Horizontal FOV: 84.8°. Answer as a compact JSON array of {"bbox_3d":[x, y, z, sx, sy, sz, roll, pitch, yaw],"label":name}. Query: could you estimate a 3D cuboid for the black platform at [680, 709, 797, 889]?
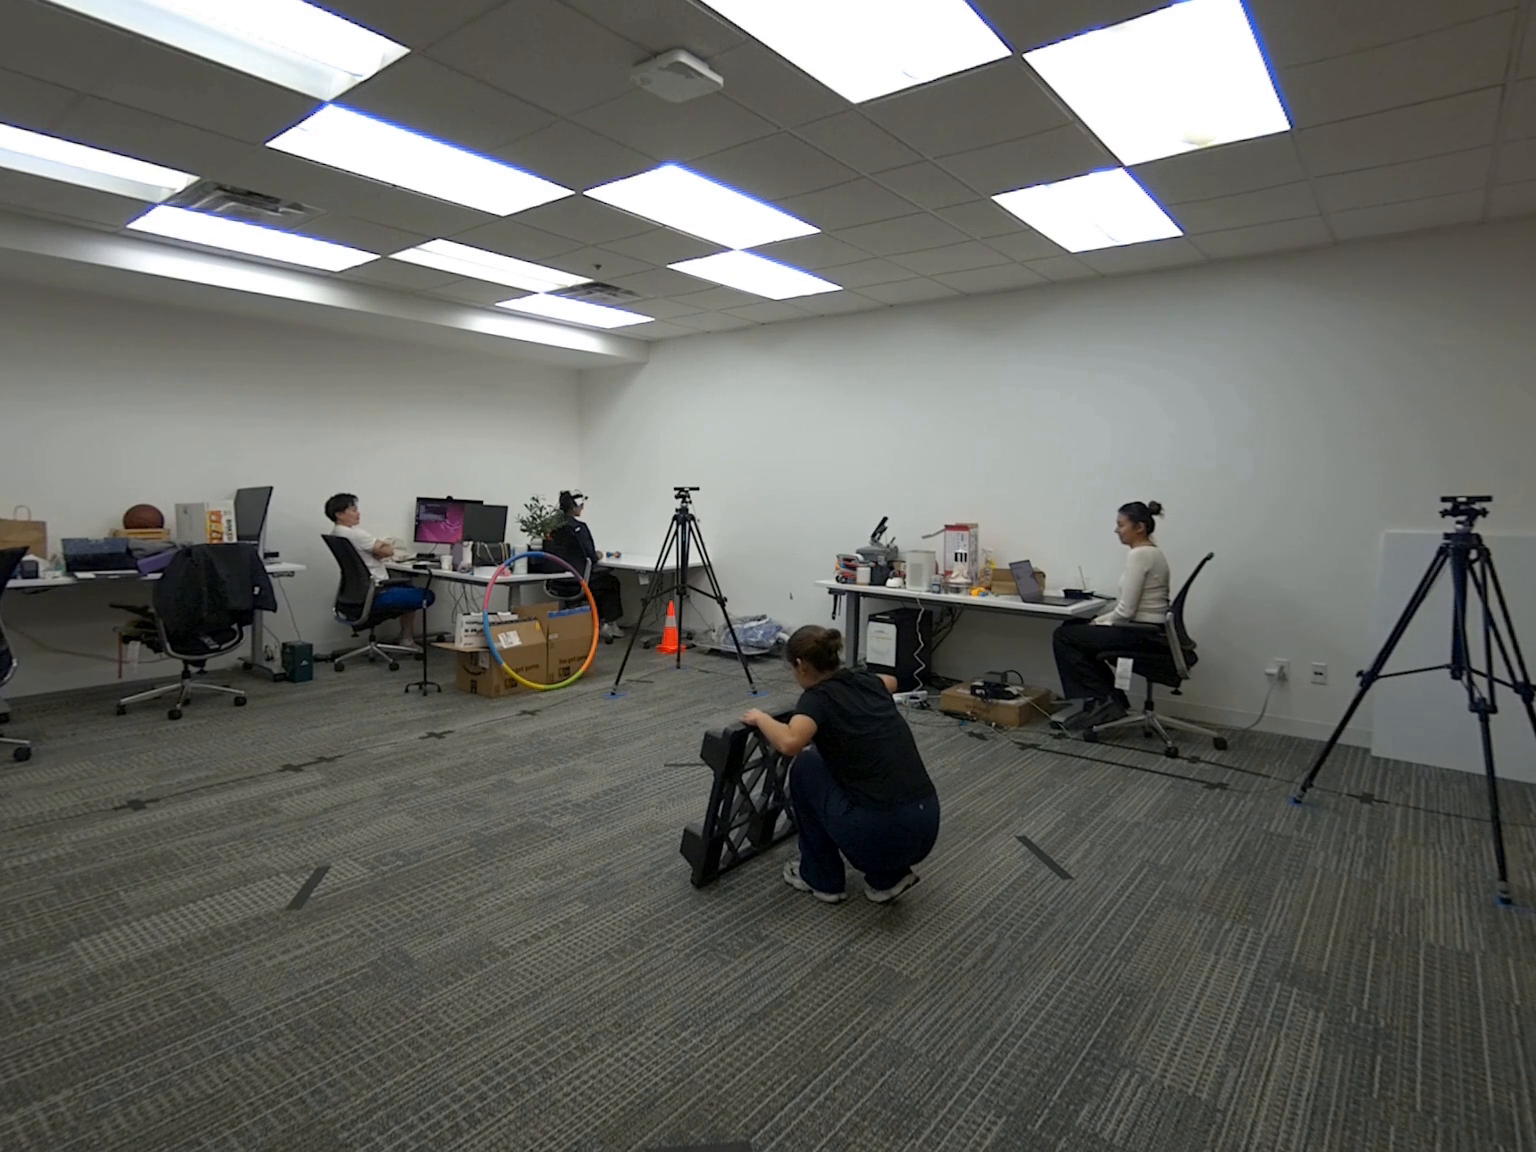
[{"bbox_3d":[0.003,0.749,3.242,0.149,0.600,0.782,20,14,34],"label":"black platform"}]
